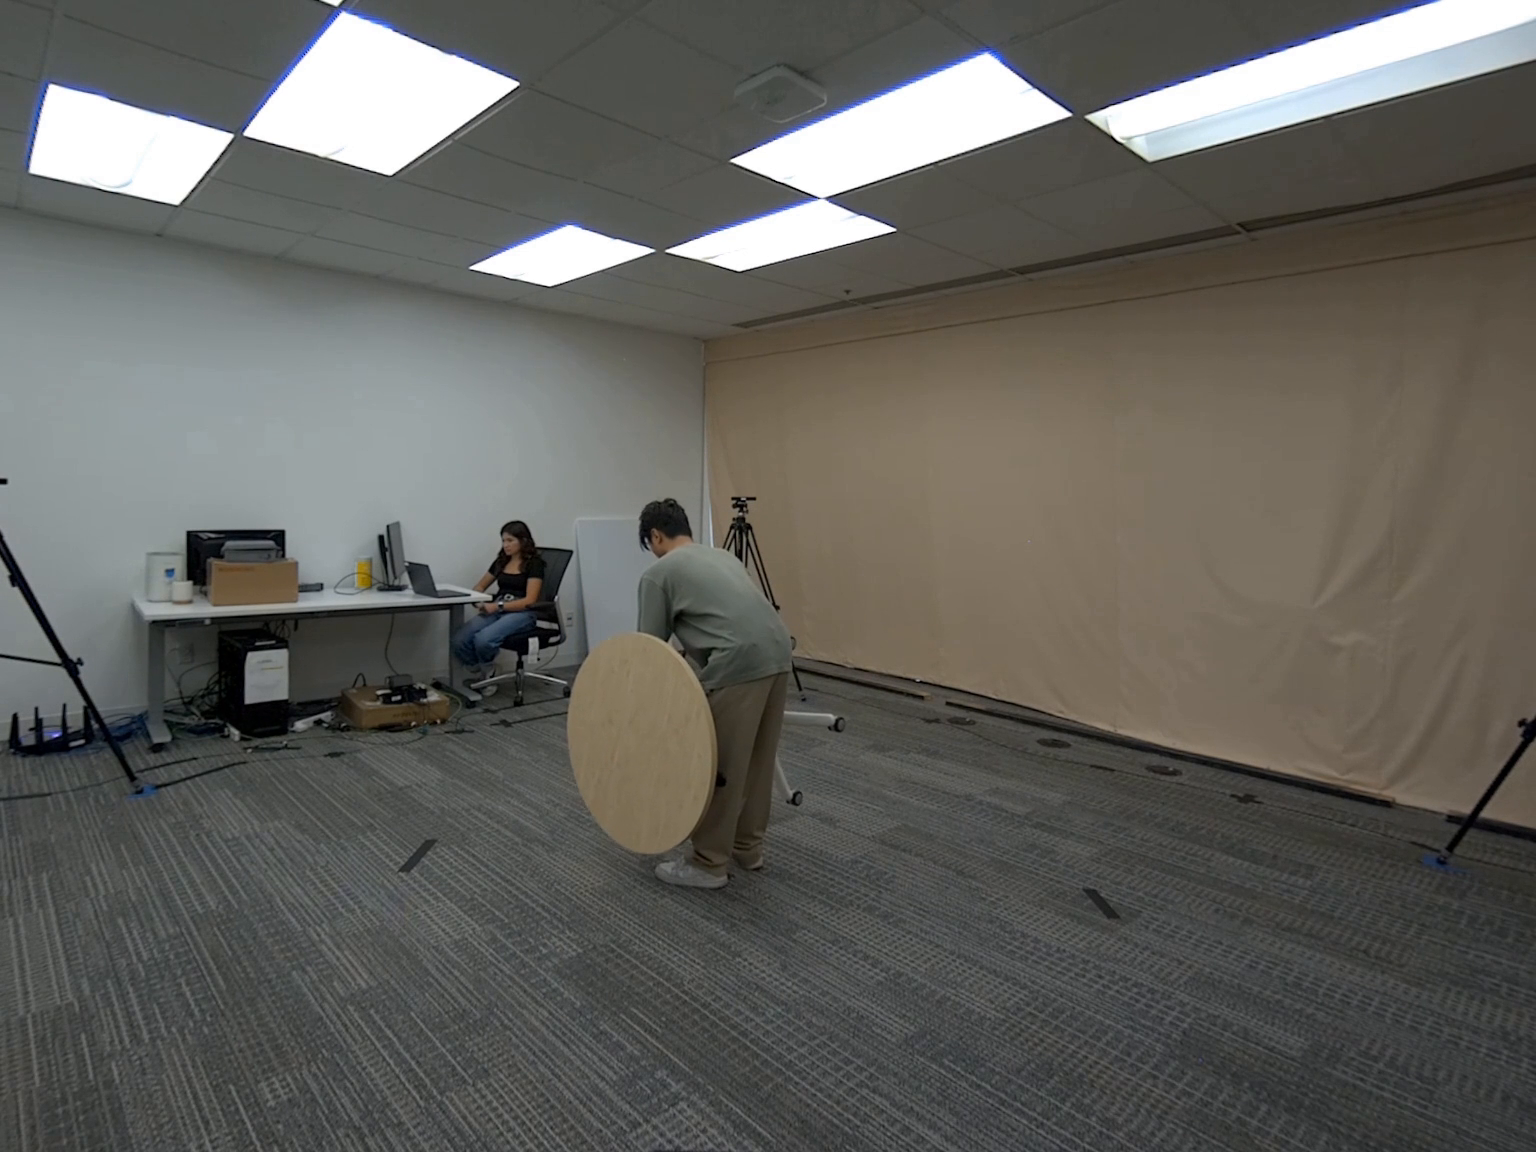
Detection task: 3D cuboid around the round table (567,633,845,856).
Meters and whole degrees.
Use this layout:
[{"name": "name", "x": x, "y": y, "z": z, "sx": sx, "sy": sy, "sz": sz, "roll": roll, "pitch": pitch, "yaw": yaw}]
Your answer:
[{"name": "round table", "x": -0.232, "y": 0.587, "z": 3.265, "sx": 0.805, "sy": 0.784, "sz": 0.767, "roll": 5, "pitch": 3, "yaw": 40}]
